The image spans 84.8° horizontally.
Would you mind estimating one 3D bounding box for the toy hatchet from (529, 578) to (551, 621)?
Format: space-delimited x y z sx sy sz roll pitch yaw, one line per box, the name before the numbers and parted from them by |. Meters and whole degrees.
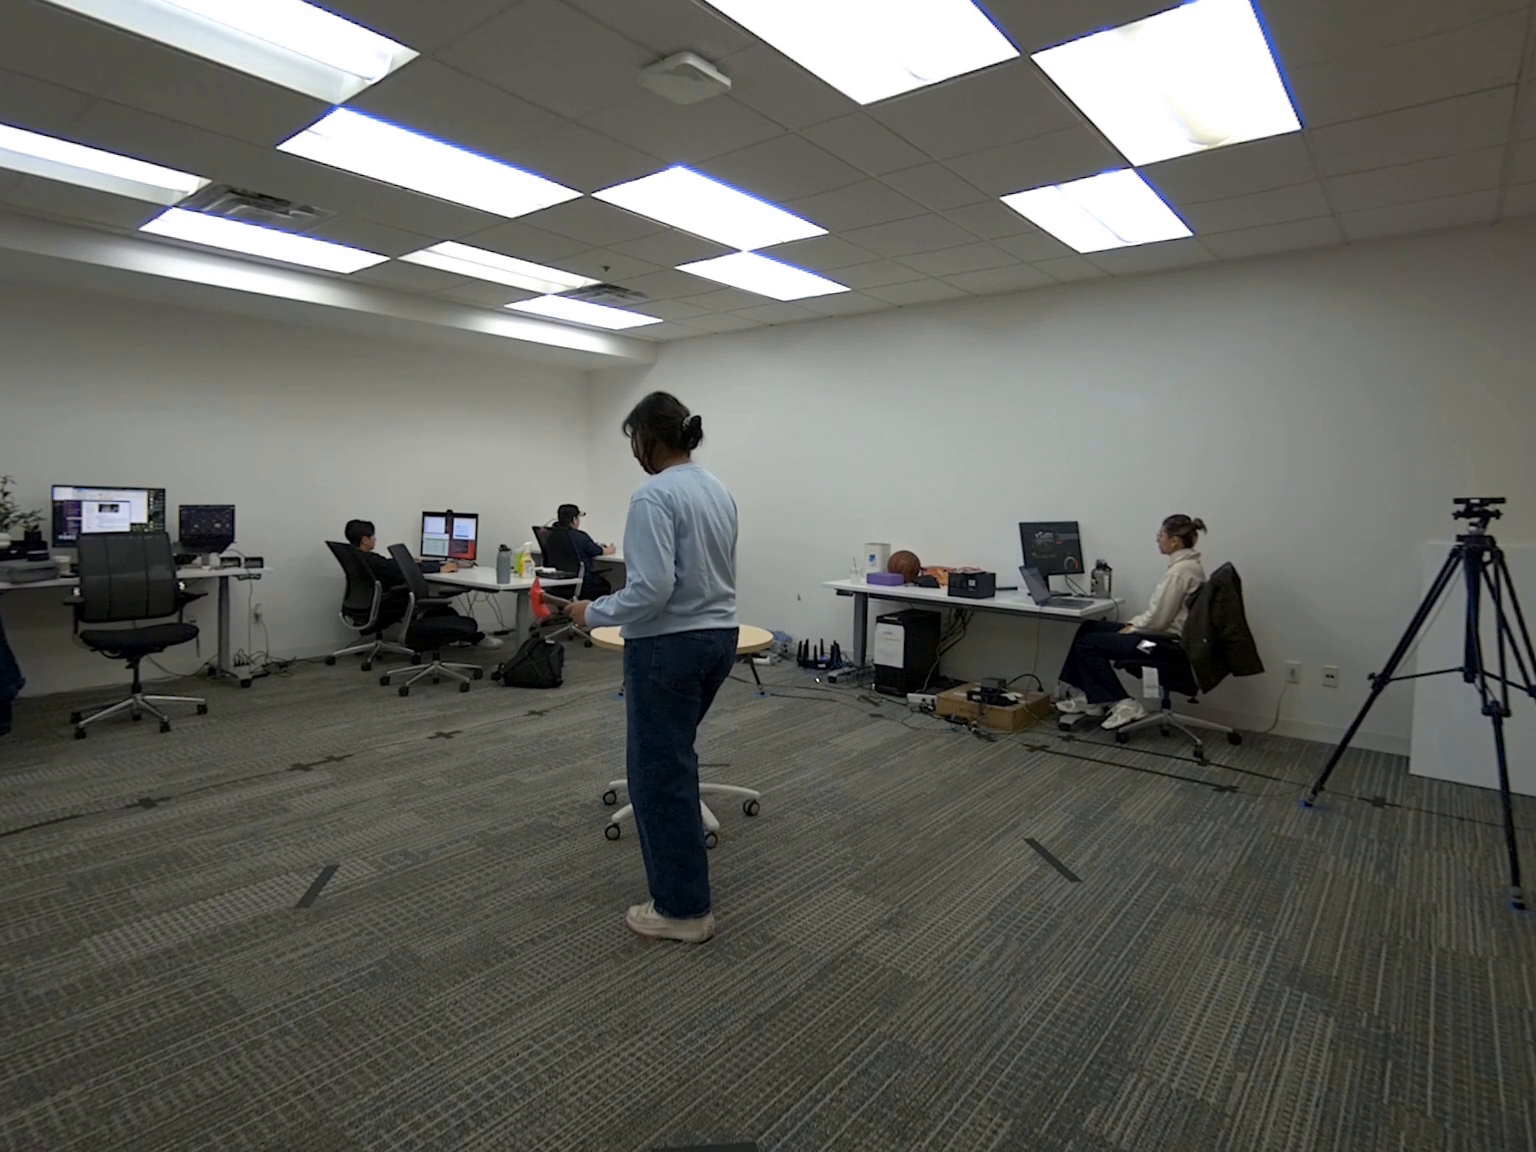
toy hatchet | -0.665 0.113 2.711 0.278 0.130 0.029 28 15 22
